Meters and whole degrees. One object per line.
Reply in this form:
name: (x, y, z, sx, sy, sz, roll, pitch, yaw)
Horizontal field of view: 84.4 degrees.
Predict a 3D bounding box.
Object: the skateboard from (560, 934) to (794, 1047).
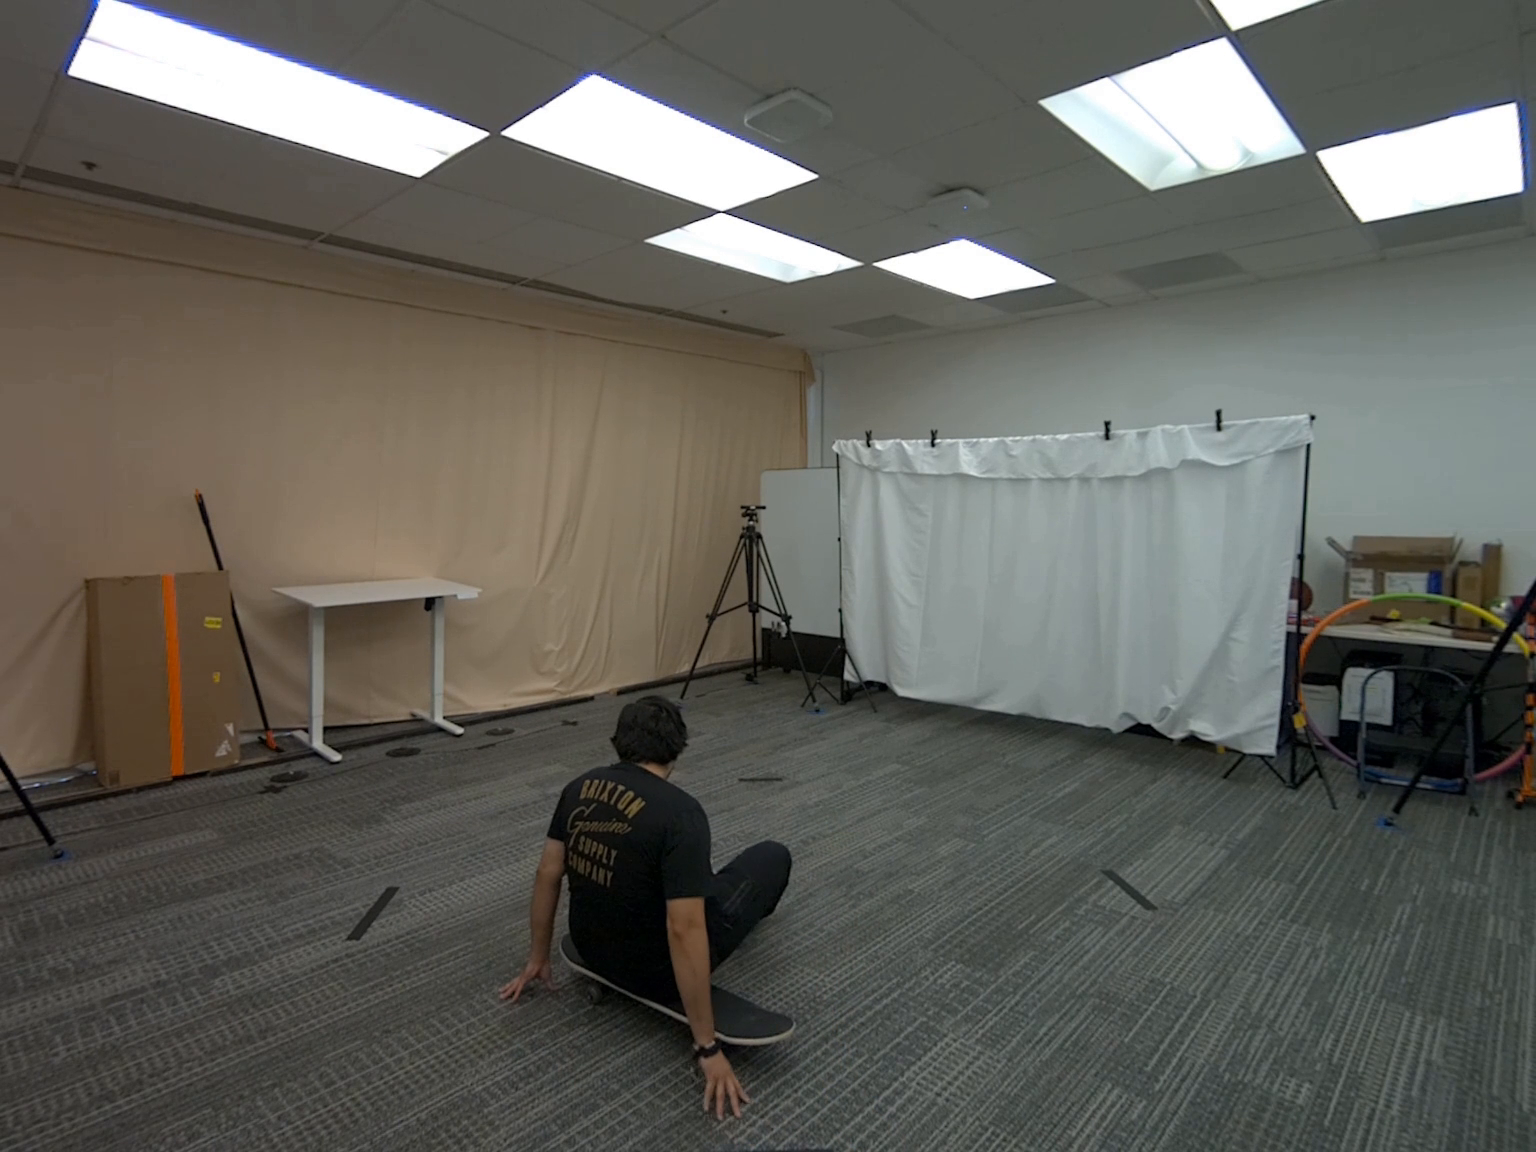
skateboard: (-0.276, 1.146, 2.290, 0.811, 0.110, 0.187, 3, -1, 38)
